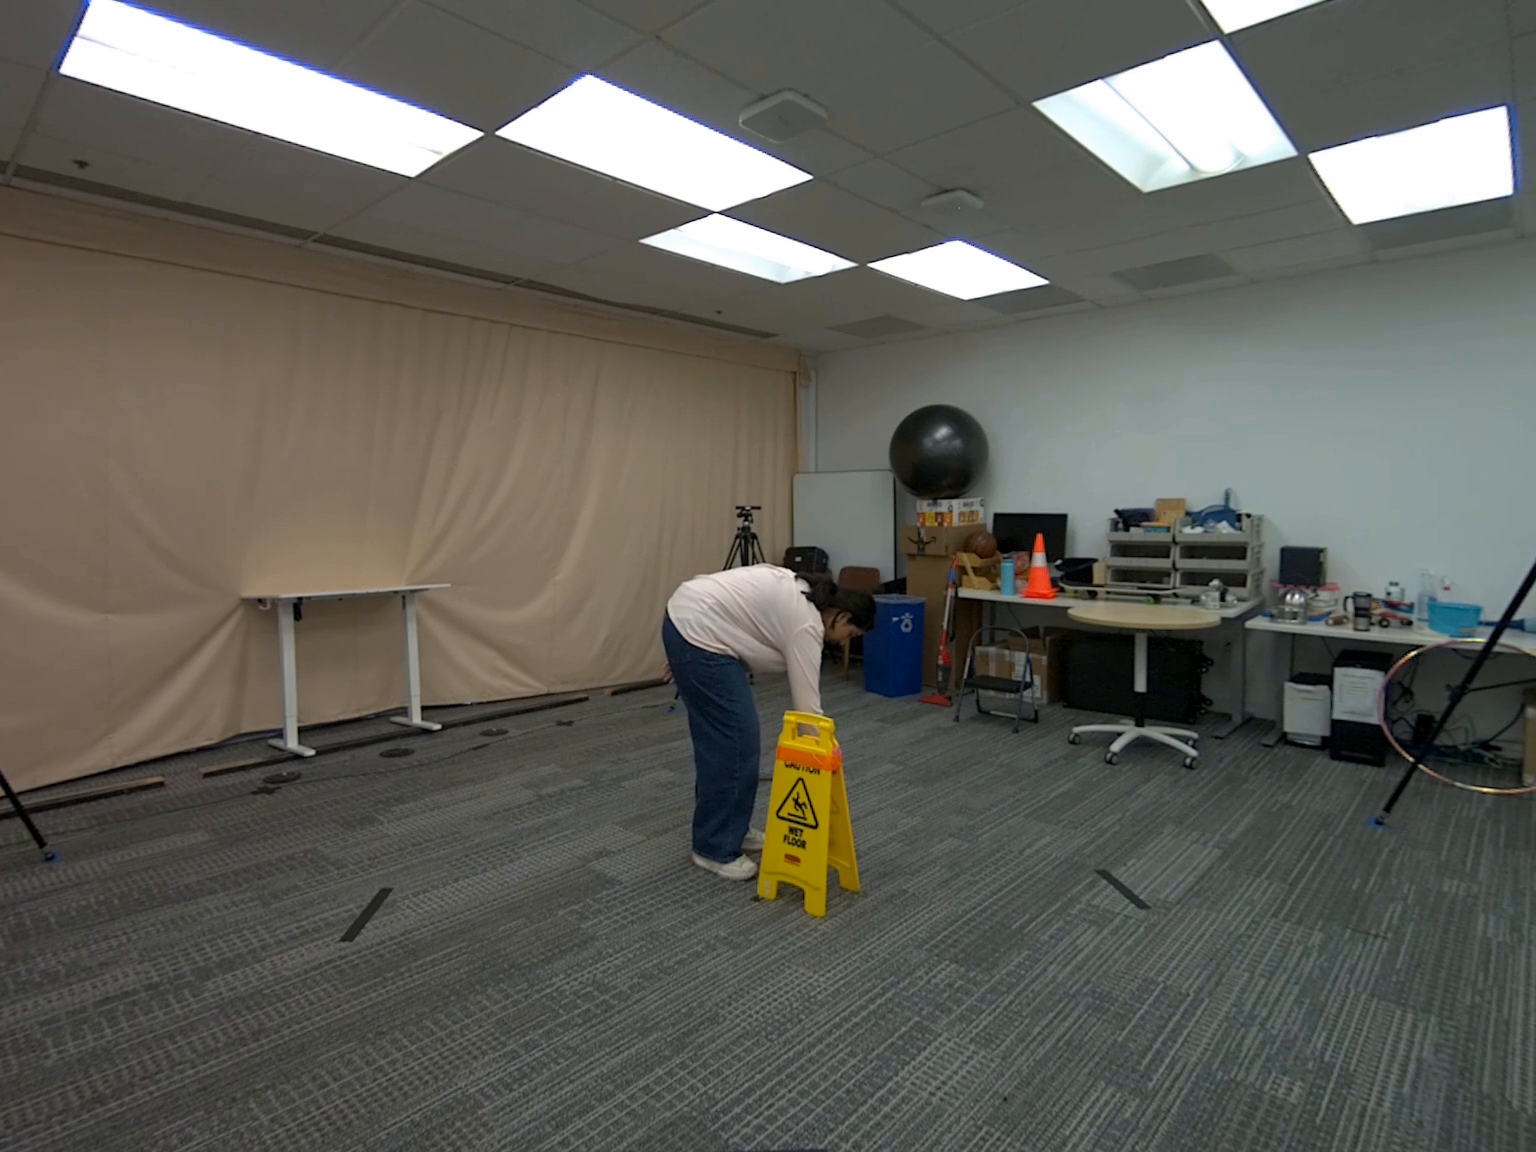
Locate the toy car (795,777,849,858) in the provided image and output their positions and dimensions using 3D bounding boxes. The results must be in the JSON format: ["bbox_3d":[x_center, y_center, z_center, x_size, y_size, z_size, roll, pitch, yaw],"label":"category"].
[{"bbox_3d":[0.194,0.880,3.101,0.134,0.254,0.081,-9,0,40],"label":"toy car"}]
